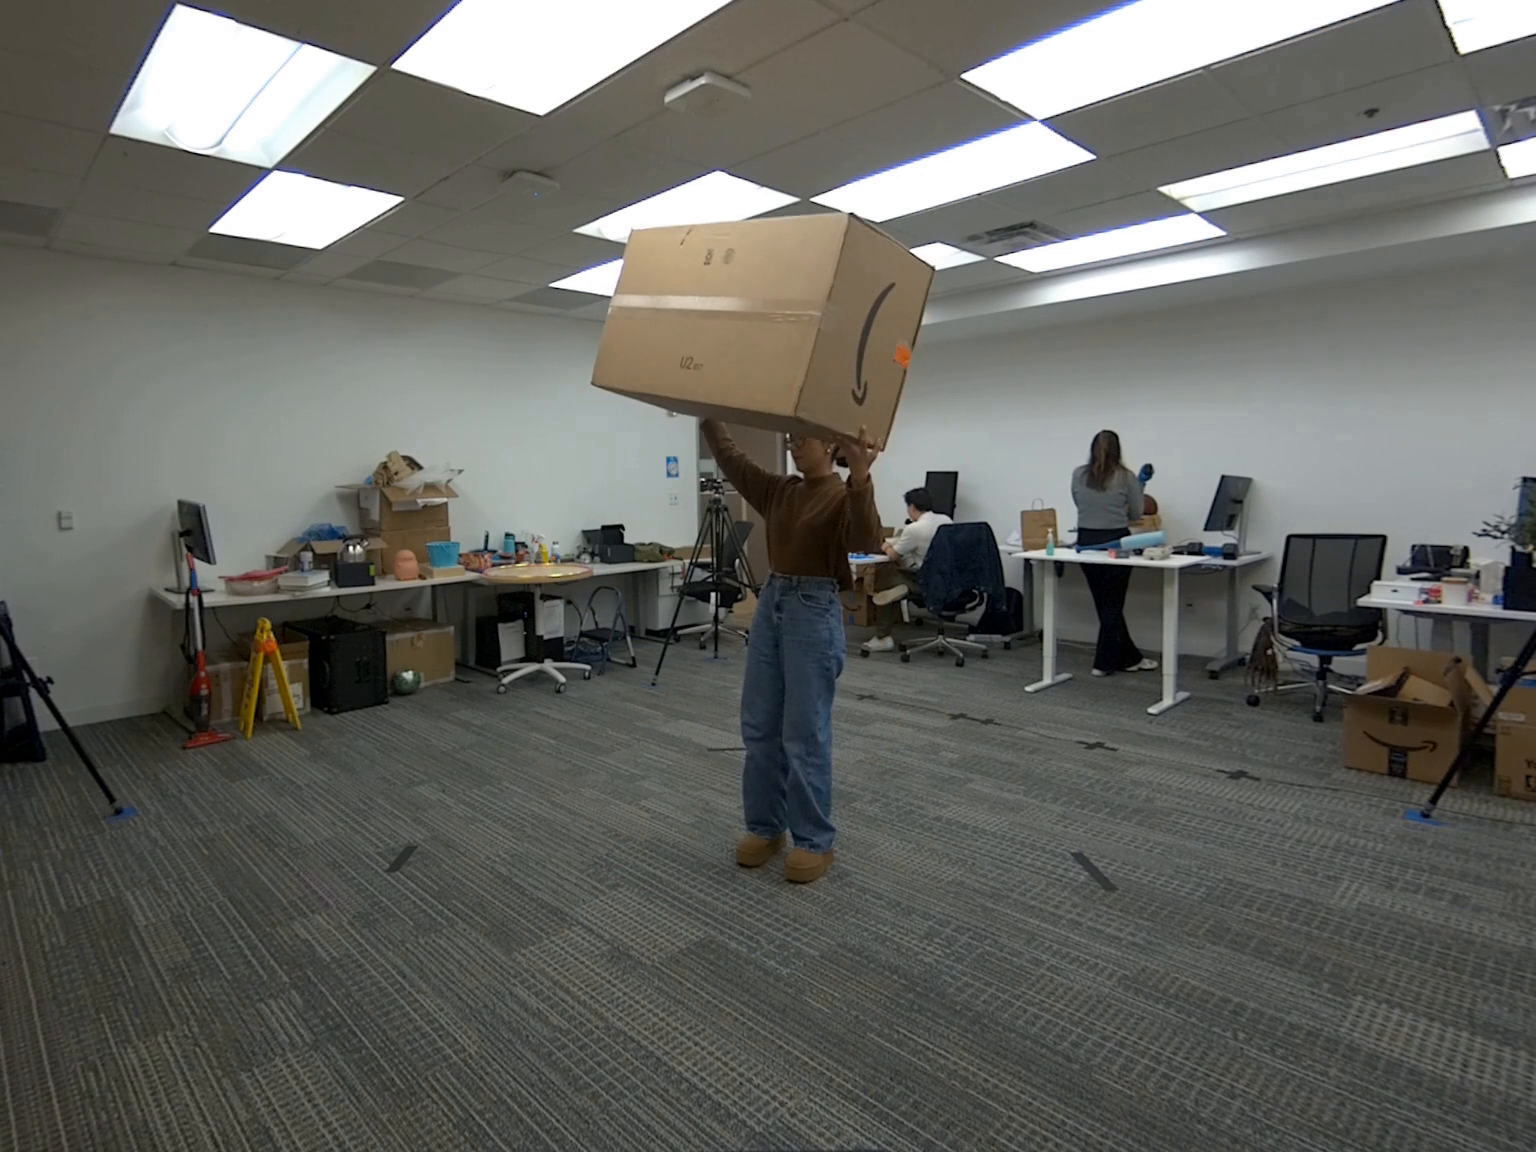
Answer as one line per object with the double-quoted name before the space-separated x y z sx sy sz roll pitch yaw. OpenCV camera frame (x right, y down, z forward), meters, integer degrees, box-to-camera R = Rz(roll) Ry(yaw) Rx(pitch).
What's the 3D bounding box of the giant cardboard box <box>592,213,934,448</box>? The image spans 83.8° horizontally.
"giant cardboard box" -0.066 -0.796 2.813 0.412 0.576 1.063 12 5 -46
